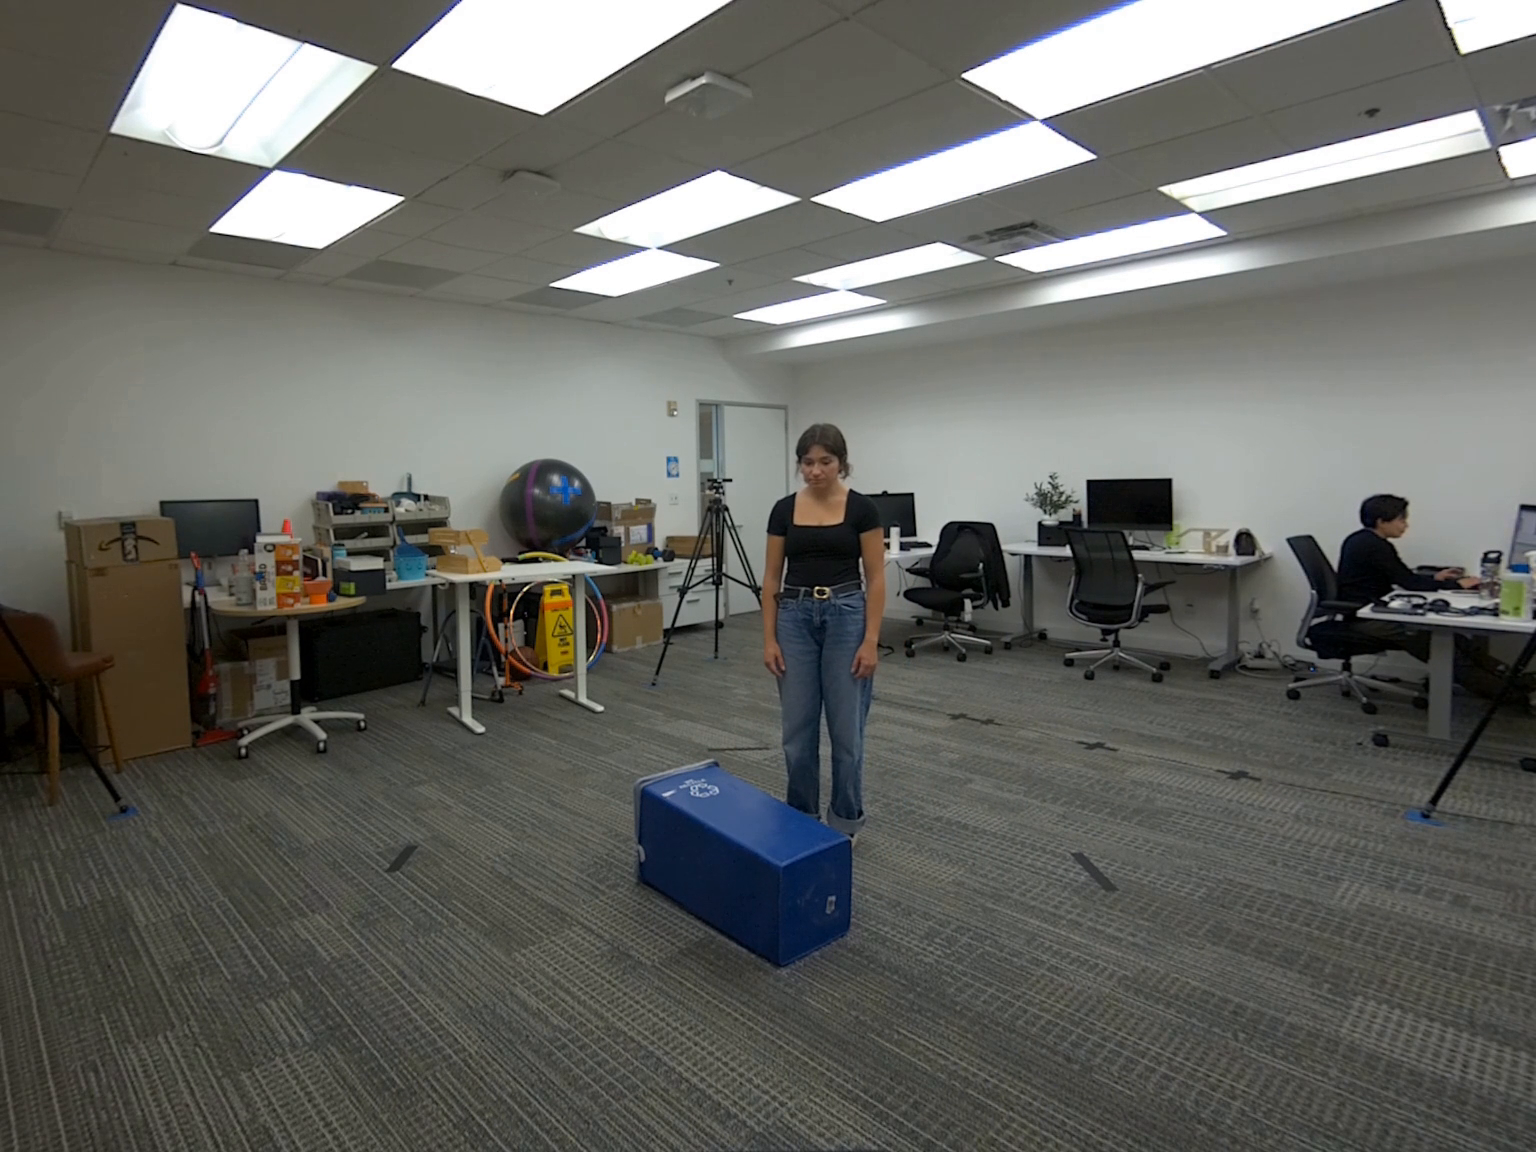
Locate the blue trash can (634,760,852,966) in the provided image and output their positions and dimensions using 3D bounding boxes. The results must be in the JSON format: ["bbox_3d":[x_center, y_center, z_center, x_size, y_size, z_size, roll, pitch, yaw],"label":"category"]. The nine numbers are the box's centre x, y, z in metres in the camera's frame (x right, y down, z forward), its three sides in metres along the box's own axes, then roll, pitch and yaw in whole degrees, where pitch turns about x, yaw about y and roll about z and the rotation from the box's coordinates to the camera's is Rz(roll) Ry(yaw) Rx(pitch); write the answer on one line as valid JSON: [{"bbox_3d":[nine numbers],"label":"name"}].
[{"bbox_3d":[-0.092,0.919,2.779,0.368,0.372,0.737,-4,9,-39],"label":"blue trash can"}]
